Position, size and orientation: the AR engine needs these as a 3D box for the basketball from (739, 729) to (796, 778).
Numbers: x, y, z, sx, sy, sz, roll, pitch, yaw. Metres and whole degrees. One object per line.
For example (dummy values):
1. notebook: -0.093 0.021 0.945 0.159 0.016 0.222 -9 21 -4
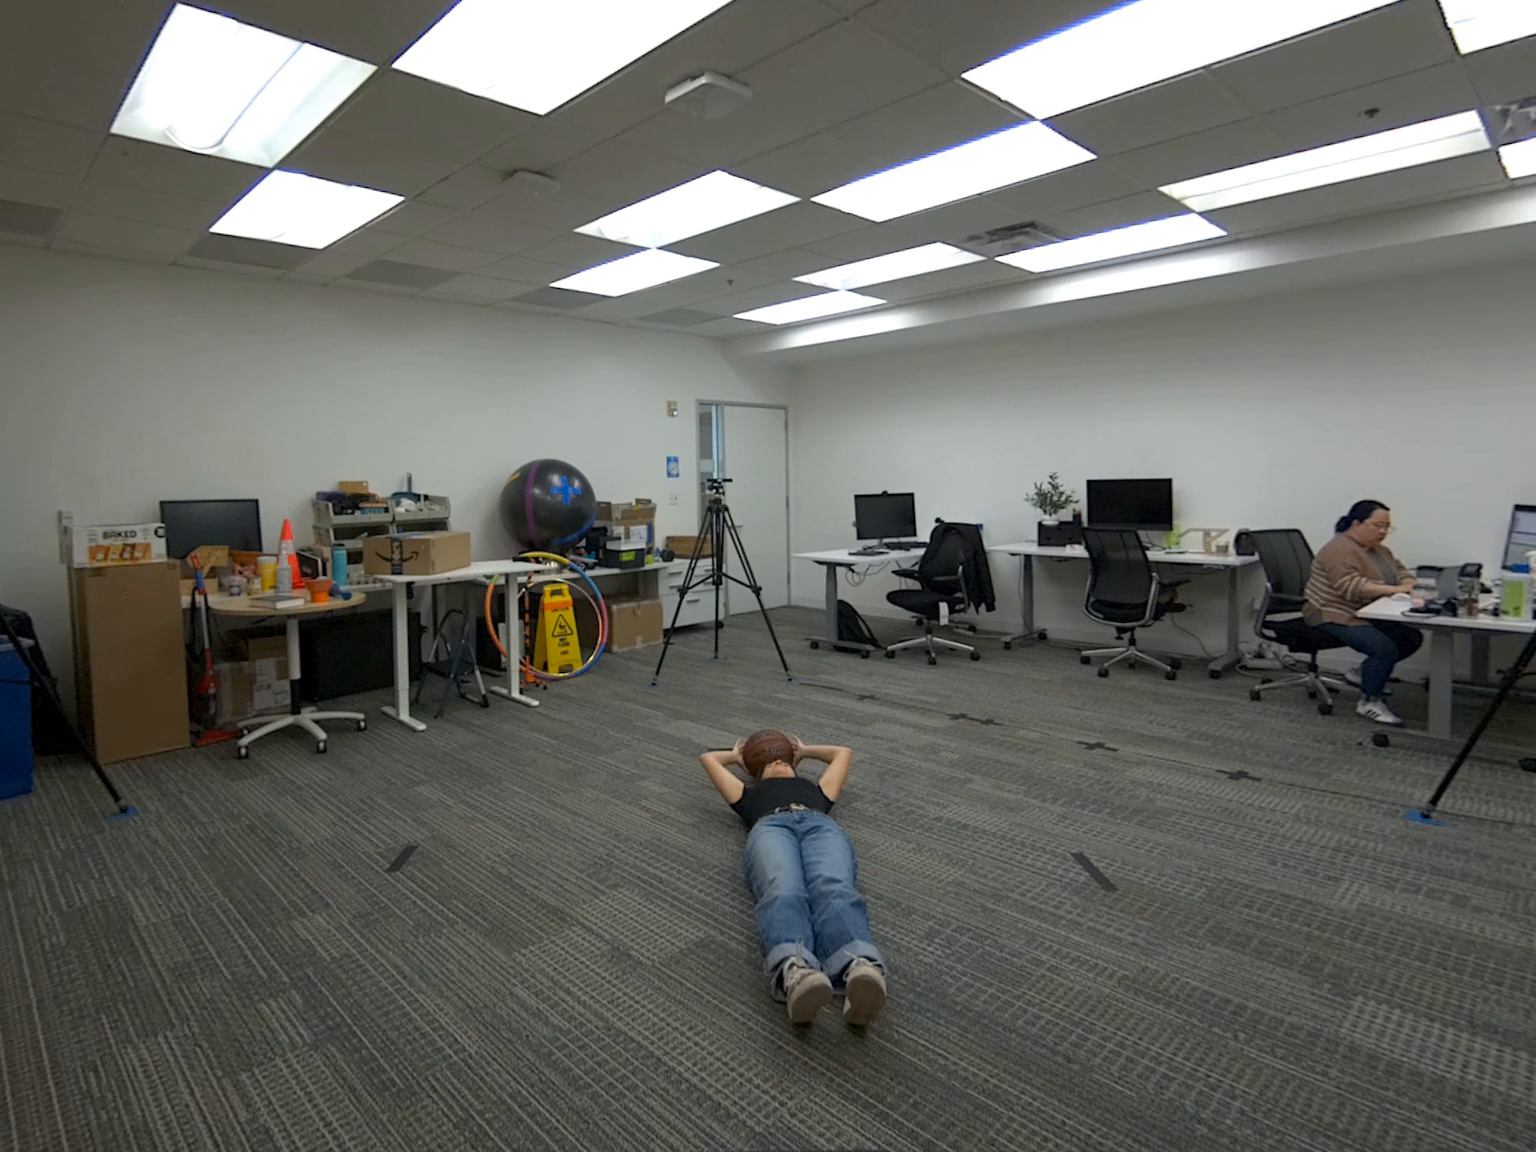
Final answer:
1. basketball: -0.001 0.829 3.948 0.236 0.235 0.237 -1 5 -2
